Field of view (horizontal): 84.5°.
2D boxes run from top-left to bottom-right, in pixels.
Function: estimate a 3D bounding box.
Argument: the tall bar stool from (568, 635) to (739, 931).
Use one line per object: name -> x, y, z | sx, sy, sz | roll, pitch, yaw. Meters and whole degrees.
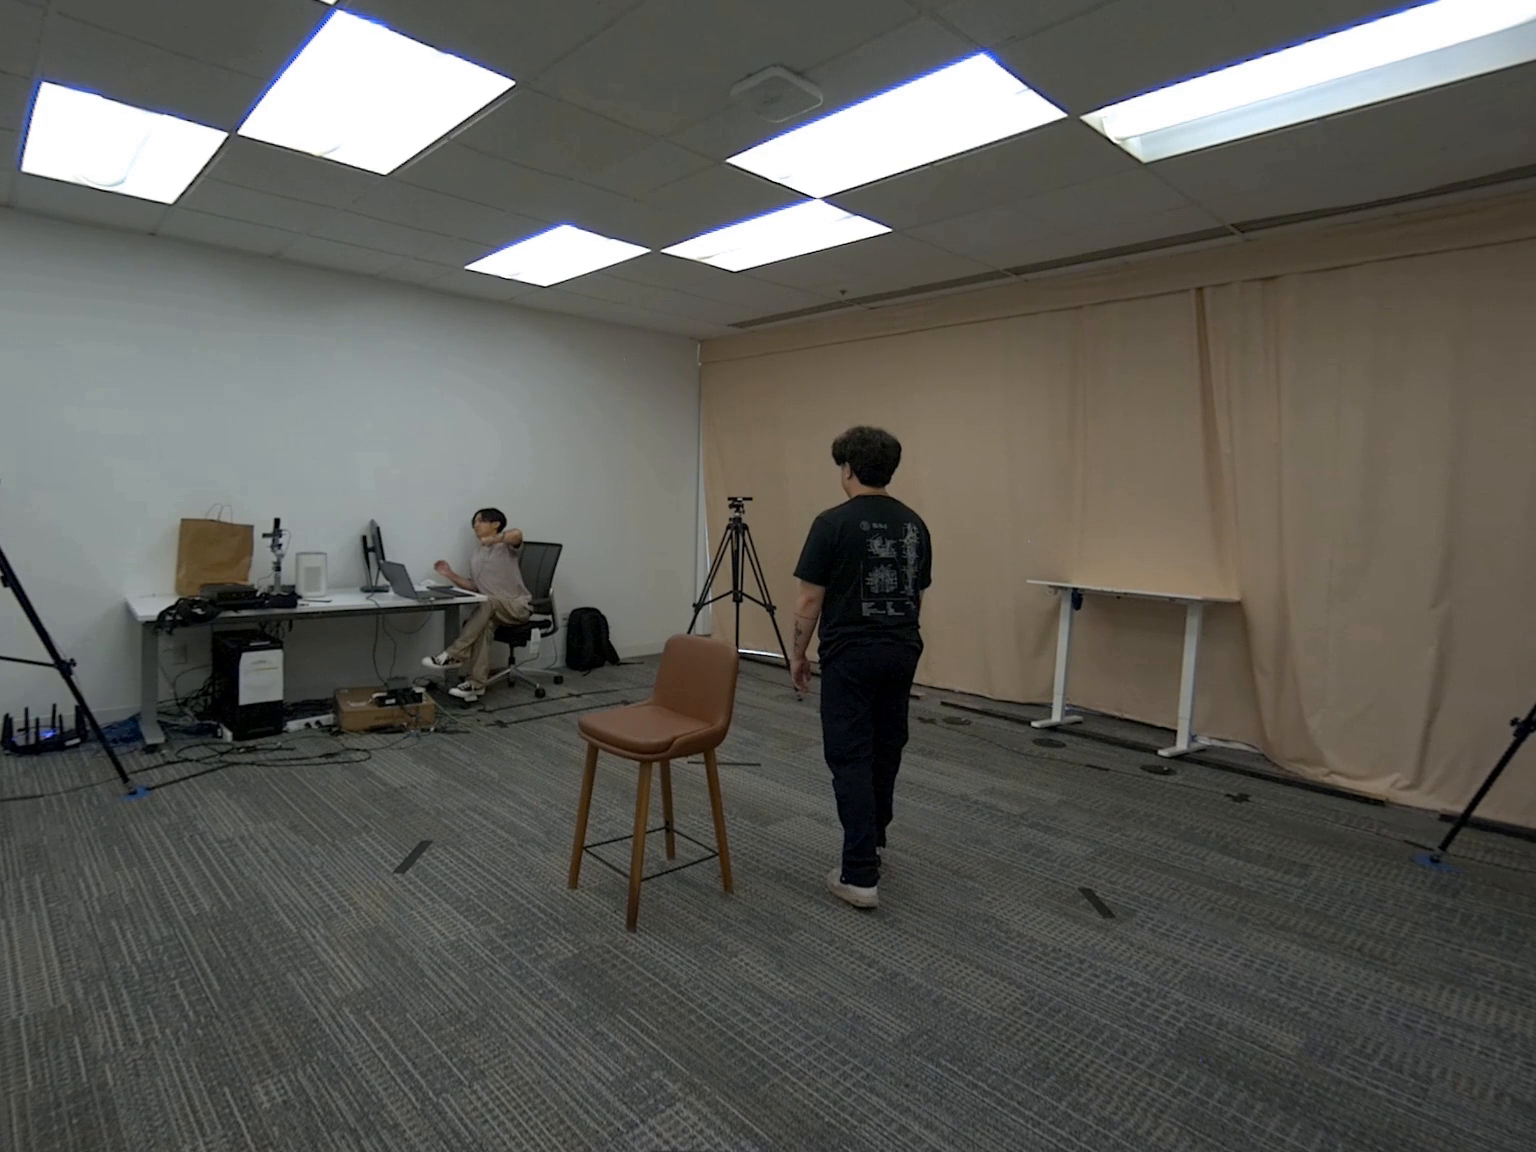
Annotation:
tall bar stool -> -0.396, 0.681, 2.955 | 0.456, 0.888, 0.468 | 0, 3, -41
